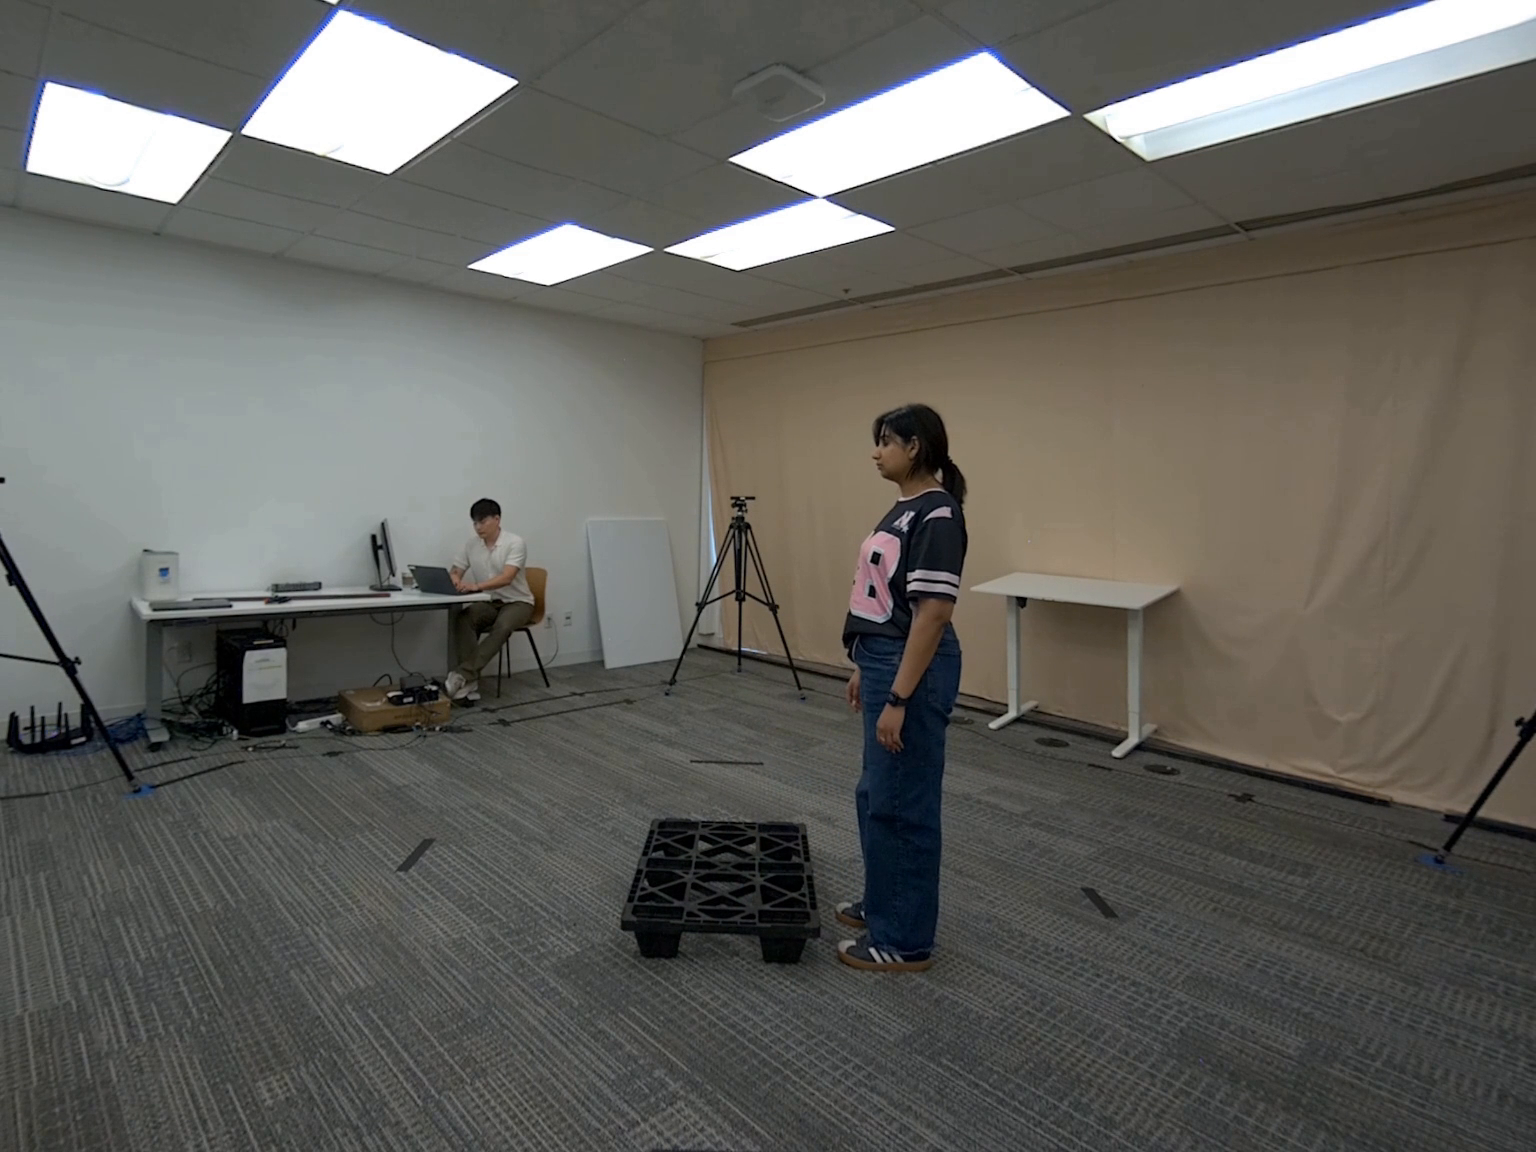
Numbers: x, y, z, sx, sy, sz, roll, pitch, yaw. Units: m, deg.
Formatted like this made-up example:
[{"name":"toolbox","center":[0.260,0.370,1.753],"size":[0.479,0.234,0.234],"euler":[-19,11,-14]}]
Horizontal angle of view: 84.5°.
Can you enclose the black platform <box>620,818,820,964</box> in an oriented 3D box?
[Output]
[{"name":"black platform","center":[-0.150,1.058,2.892],"size":[0.606,0.143,0.807],"euler":[2,6,0]}]
